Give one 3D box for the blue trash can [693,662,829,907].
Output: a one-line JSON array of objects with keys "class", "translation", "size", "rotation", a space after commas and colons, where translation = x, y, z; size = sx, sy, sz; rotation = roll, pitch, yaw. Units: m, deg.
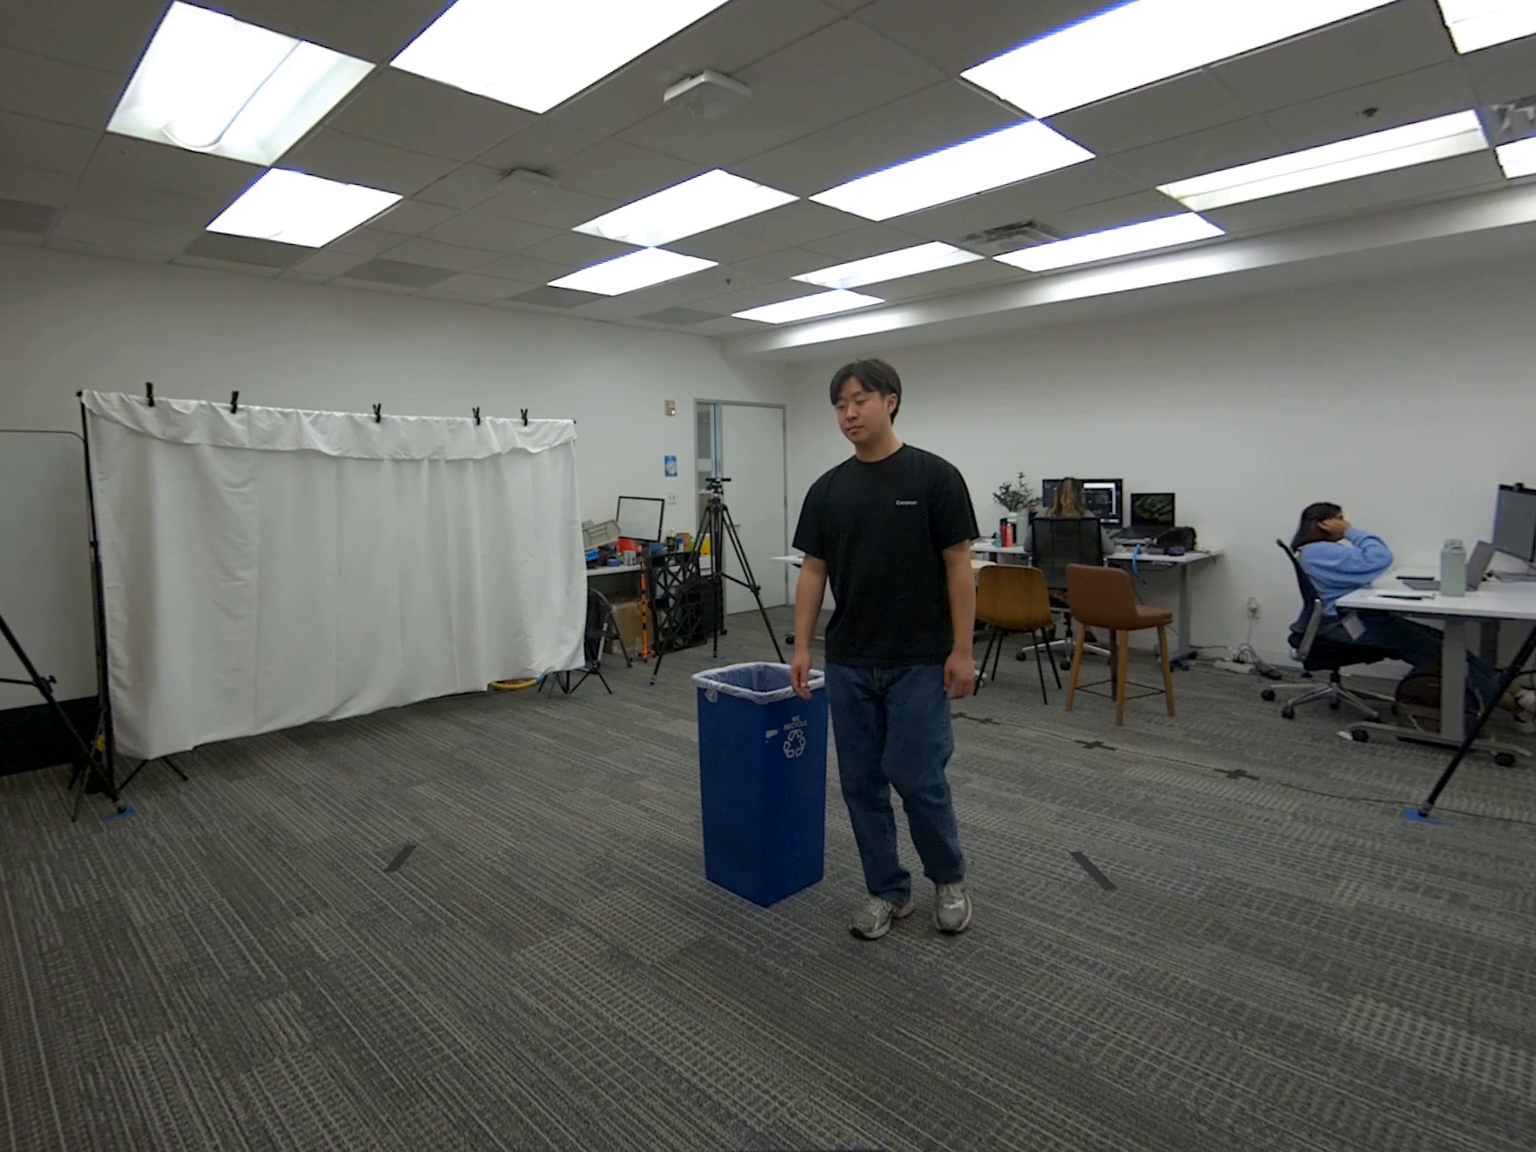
[{"class": "blue trash can", "translation": [-0.013, 0.697, 2.972], "size": [0.364, 0.711, 0.390], "rotation": [-5, 6, -43]}]
